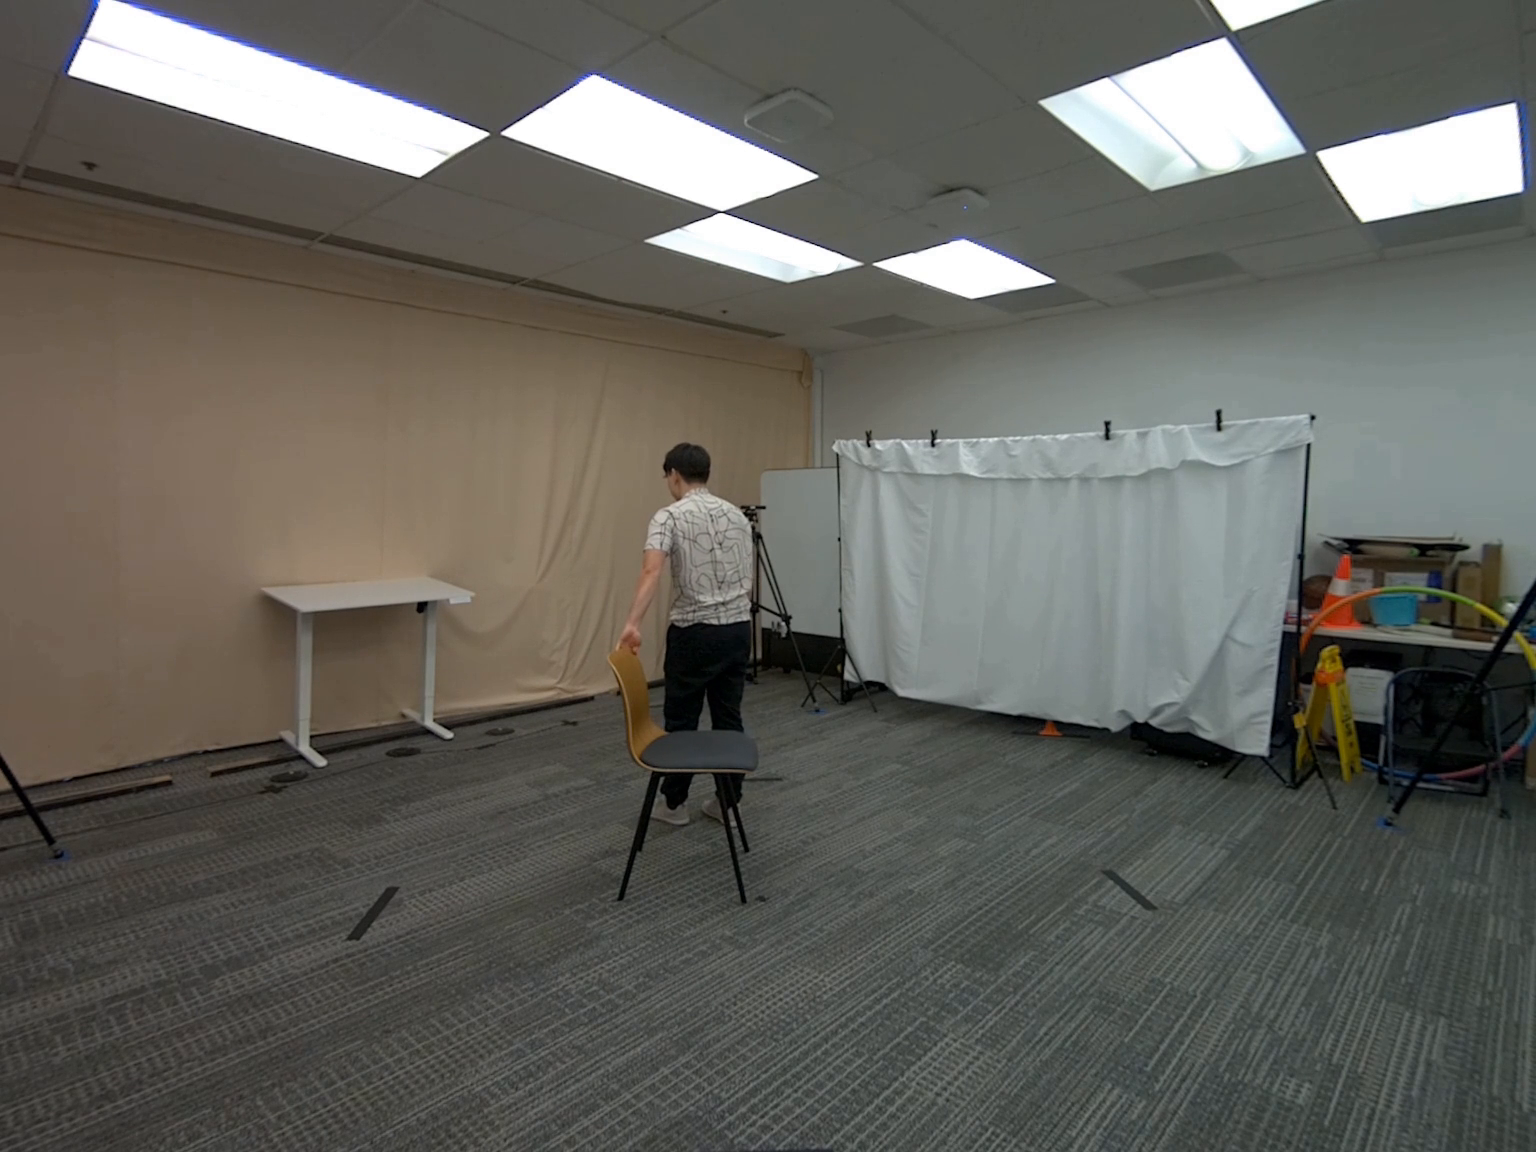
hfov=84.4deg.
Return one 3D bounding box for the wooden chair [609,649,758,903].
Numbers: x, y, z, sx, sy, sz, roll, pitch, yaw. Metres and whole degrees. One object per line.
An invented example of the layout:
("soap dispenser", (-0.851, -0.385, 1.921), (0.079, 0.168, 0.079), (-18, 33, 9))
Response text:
("wooden chair", (-0.297, 0.701, 3.157), (0.525, 0.876, 0.477), (-4, 2, 2))
